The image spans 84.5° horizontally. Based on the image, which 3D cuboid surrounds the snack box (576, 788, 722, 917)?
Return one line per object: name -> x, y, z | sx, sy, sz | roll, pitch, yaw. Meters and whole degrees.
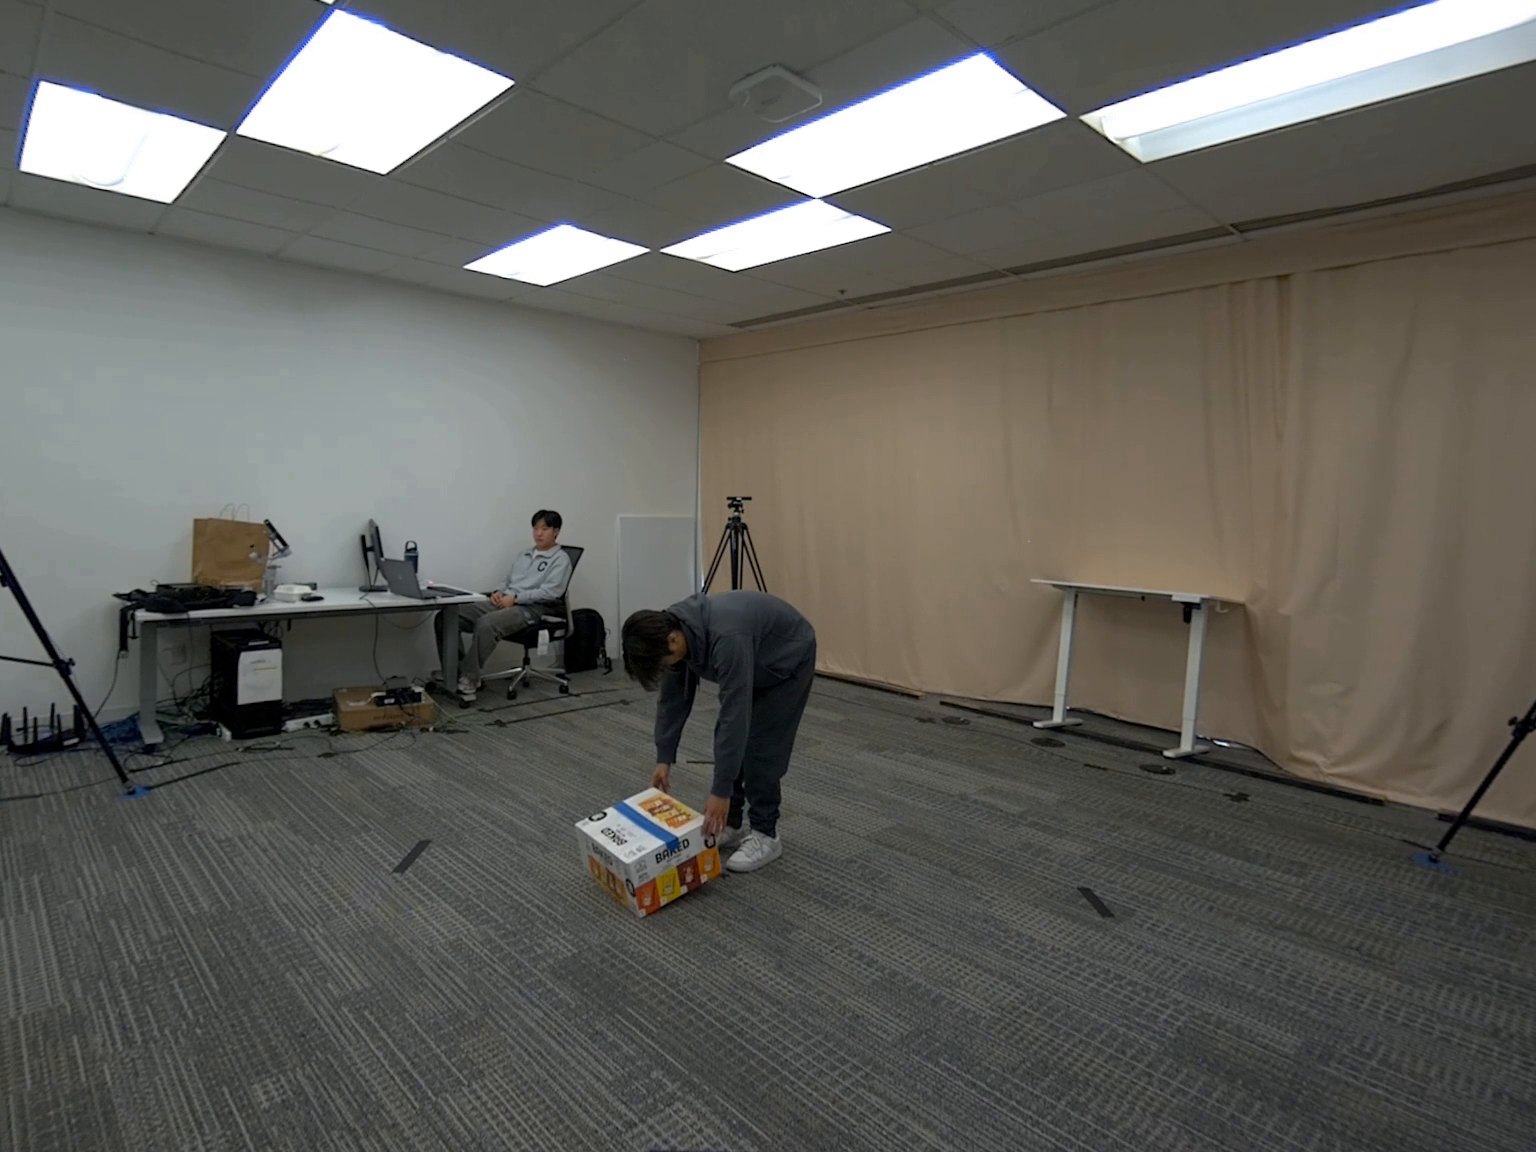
snack box -> -0.440, 0.975, 3.008 | 0.335, 0.204, 0.415 | -17, 15, -35
